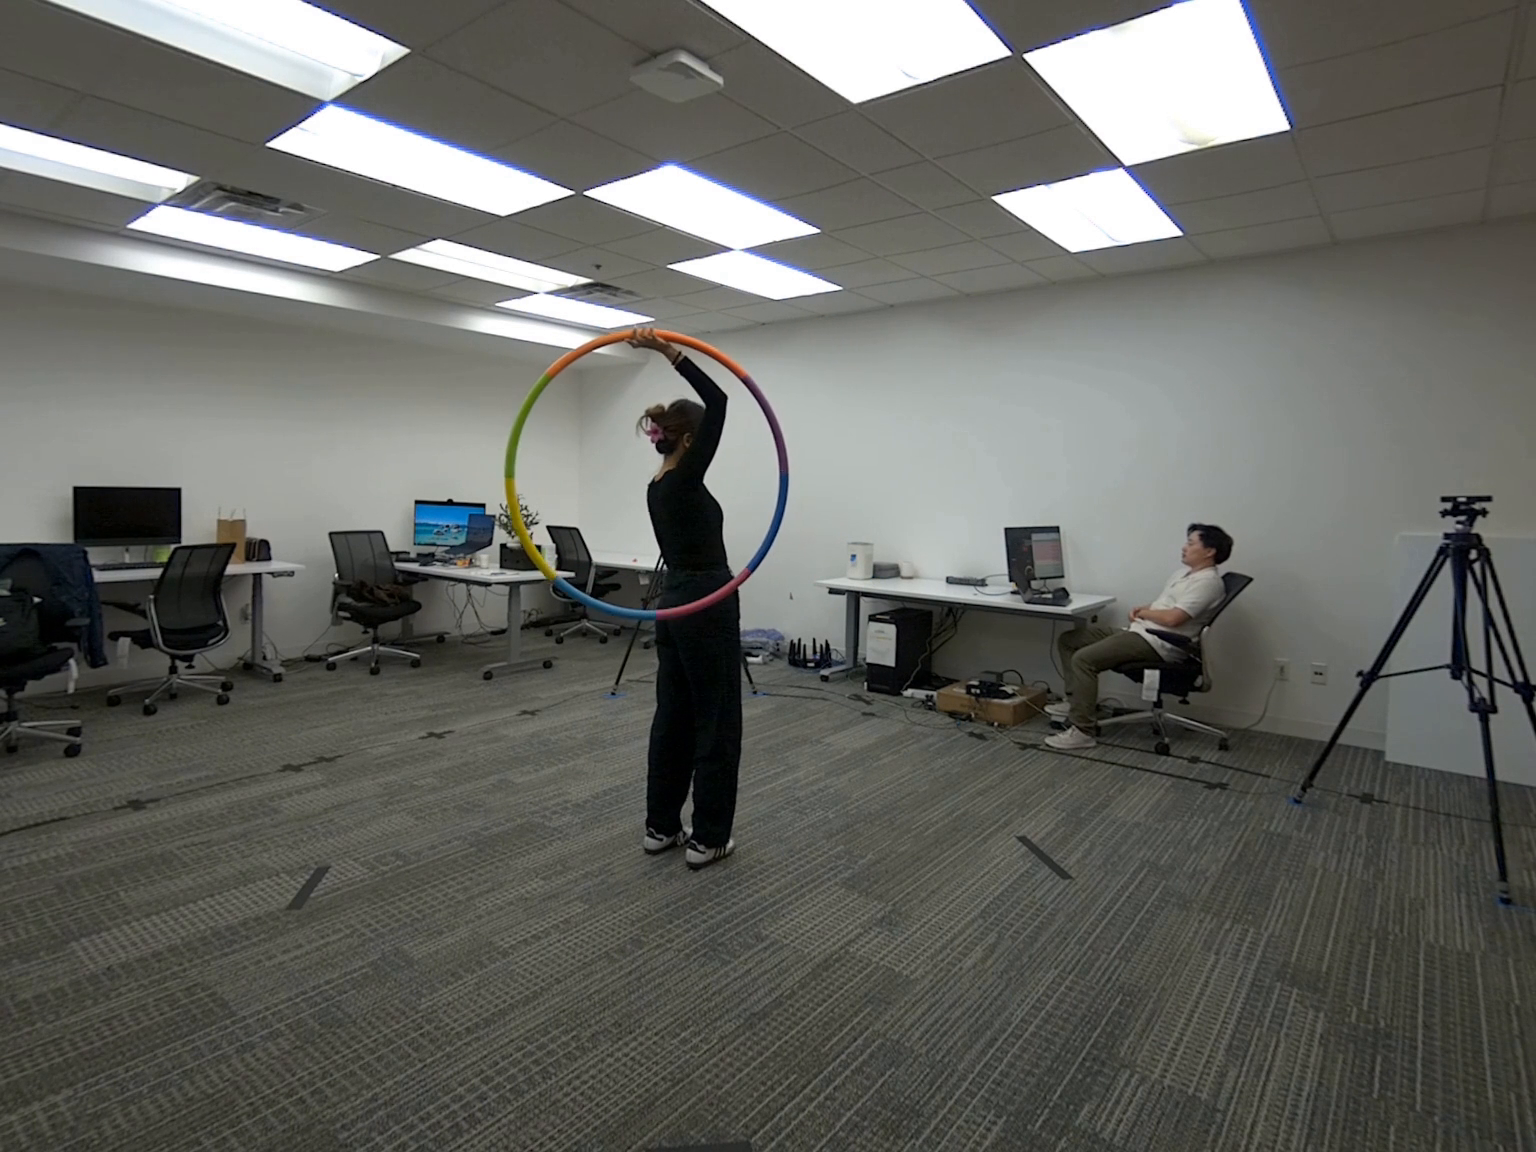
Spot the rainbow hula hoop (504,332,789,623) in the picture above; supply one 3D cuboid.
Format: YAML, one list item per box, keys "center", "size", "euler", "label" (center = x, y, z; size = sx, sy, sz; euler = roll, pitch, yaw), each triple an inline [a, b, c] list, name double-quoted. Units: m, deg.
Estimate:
- center: [-0.424, -0.357, 2.922]
  size: [0.973, 0.983, 0.052]
  euler: [0, 2, -12]
  label: "rainbow hula hoop"
